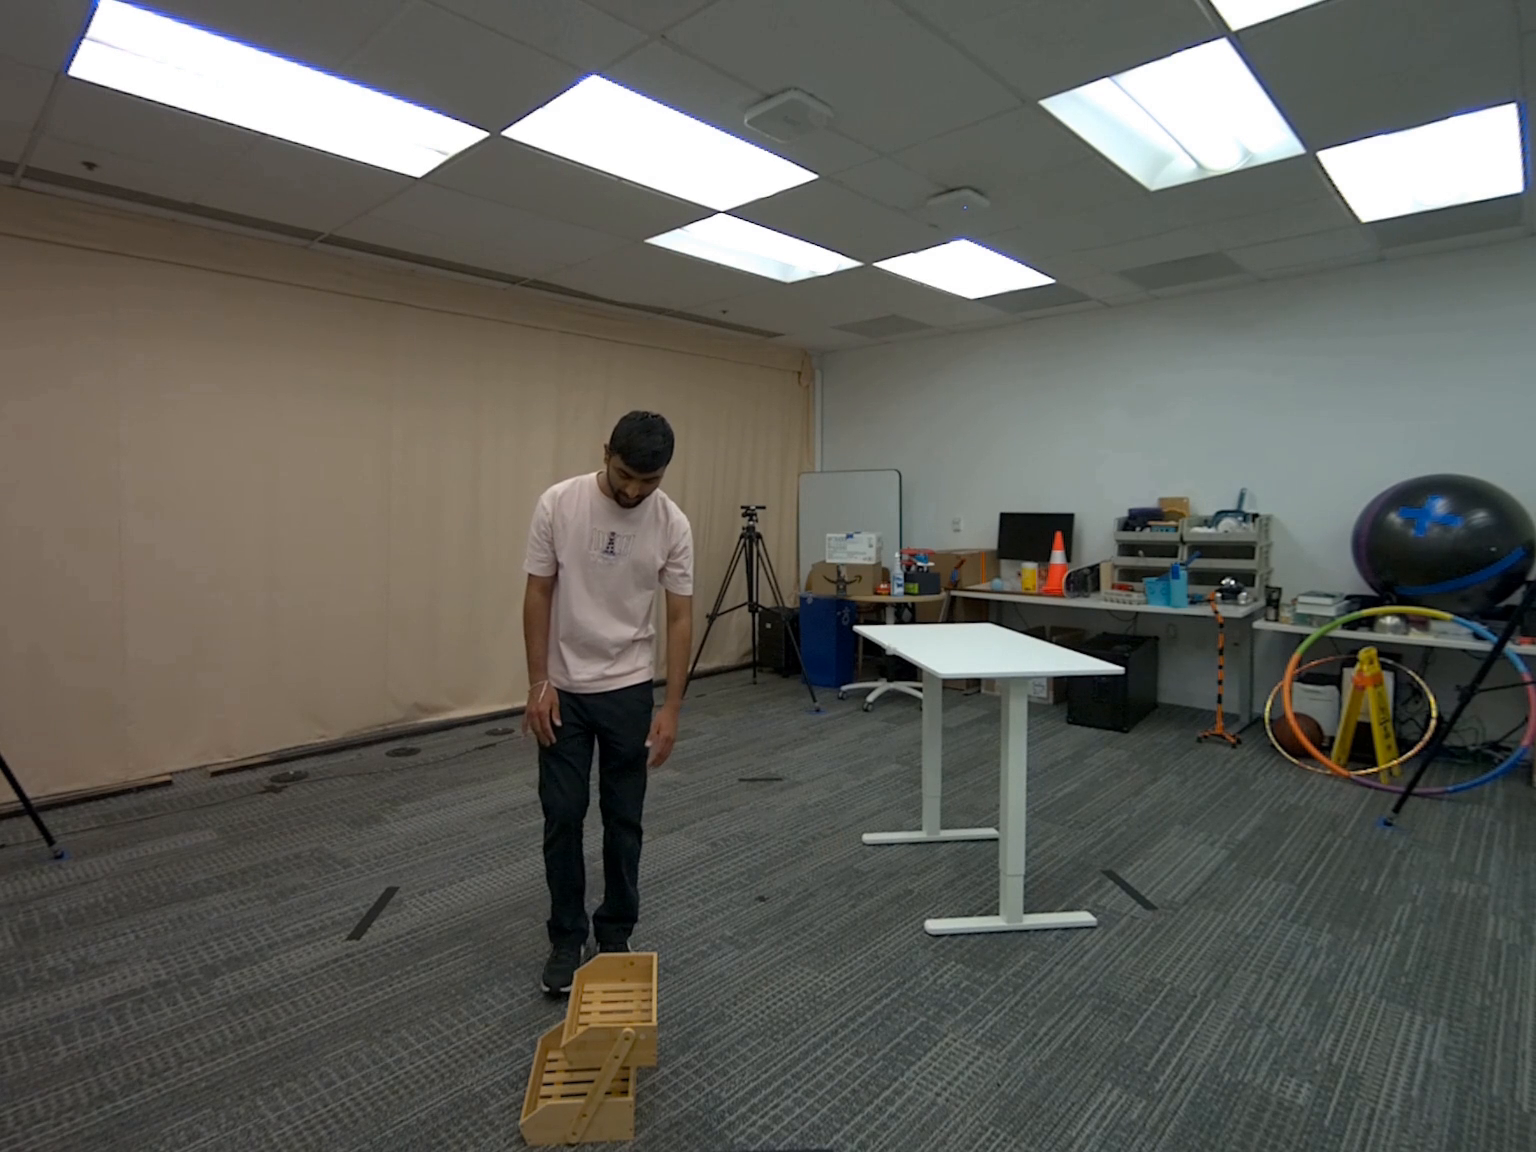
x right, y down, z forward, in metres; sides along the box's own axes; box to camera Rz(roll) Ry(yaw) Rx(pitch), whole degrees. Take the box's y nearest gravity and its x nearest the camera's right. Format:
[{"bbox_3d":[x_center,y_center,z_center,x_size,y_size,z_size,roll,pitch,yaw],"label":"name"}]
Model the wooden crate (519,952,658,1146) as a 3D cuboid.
[{"bbox_3d":[-0.415,1.101,1.976,0.300,0.273,0.327,0,4,-6],"label":"wooden crate"}]
